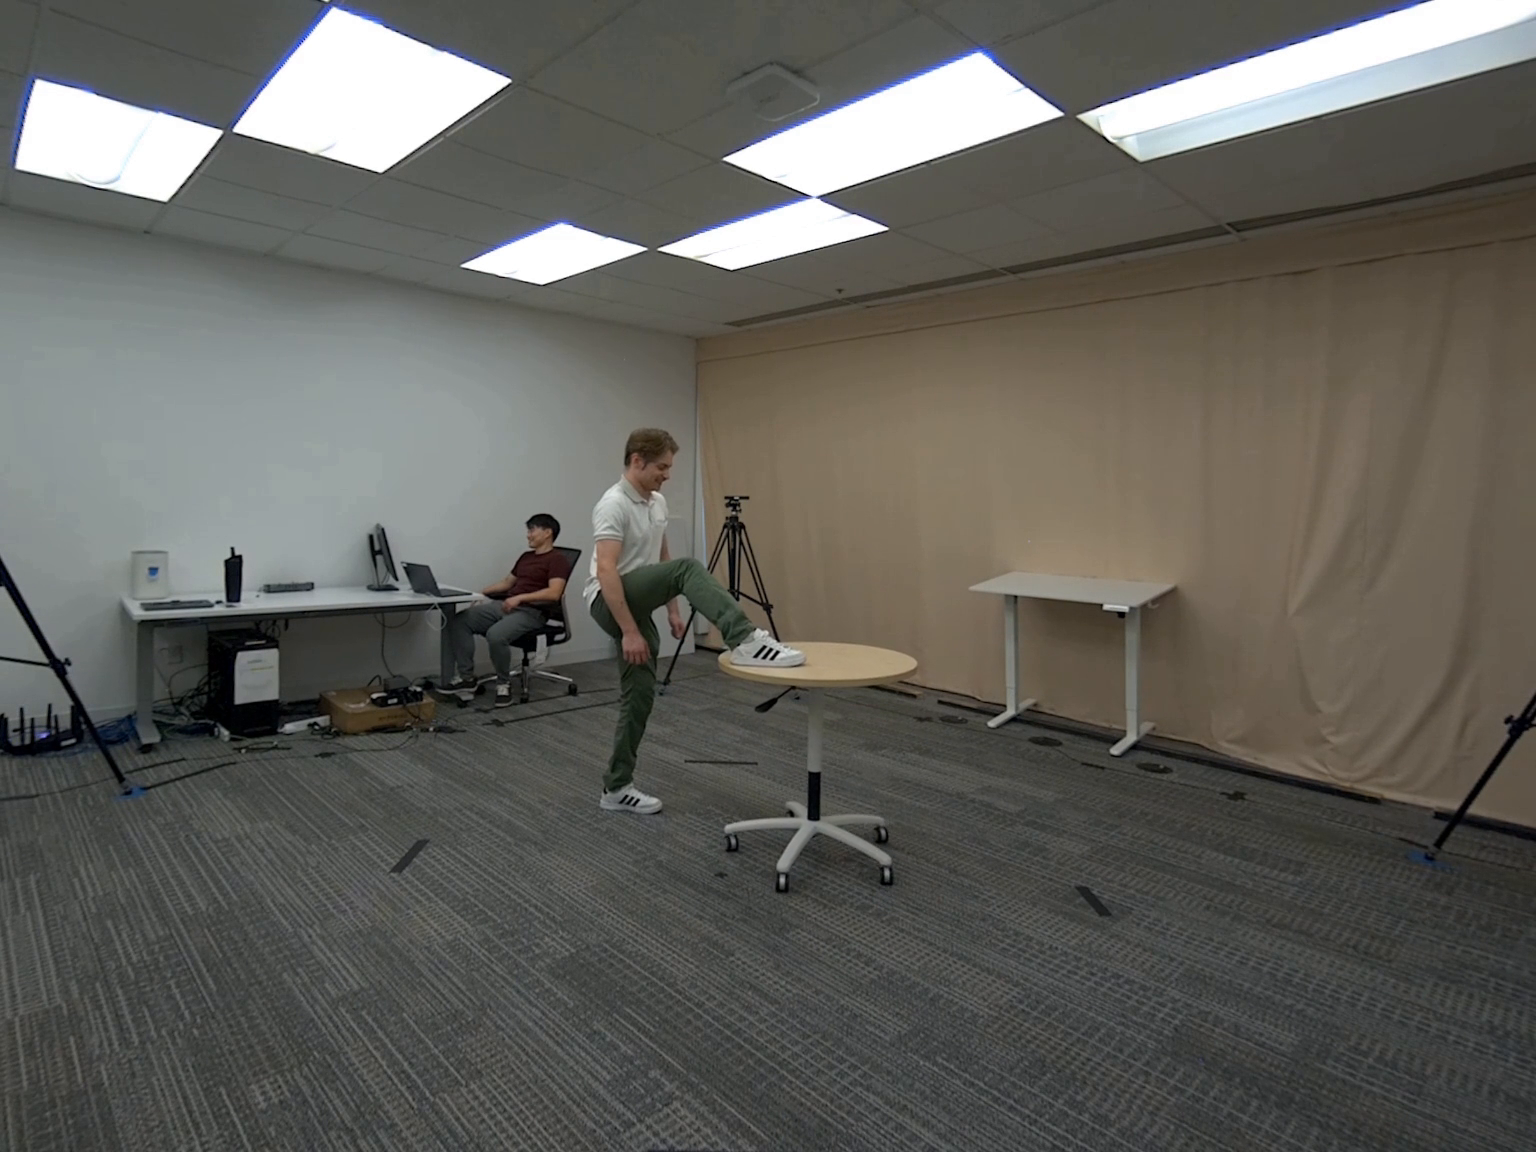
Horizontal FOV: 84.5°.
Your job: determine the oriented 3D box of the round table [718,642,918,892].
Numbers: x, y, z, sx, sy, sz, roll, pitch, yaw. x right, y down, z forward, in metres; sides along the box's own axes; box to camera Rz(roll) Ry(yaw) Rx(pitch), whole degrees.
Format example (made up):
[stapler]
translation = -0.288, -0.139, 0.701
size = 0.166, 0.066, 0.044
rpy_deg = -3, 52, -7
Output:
[round table]
translation = 0.181, 0.713, 3.279
size = 0.763, 0.792, 0.766
rpy_deg = 1, 4, -1
